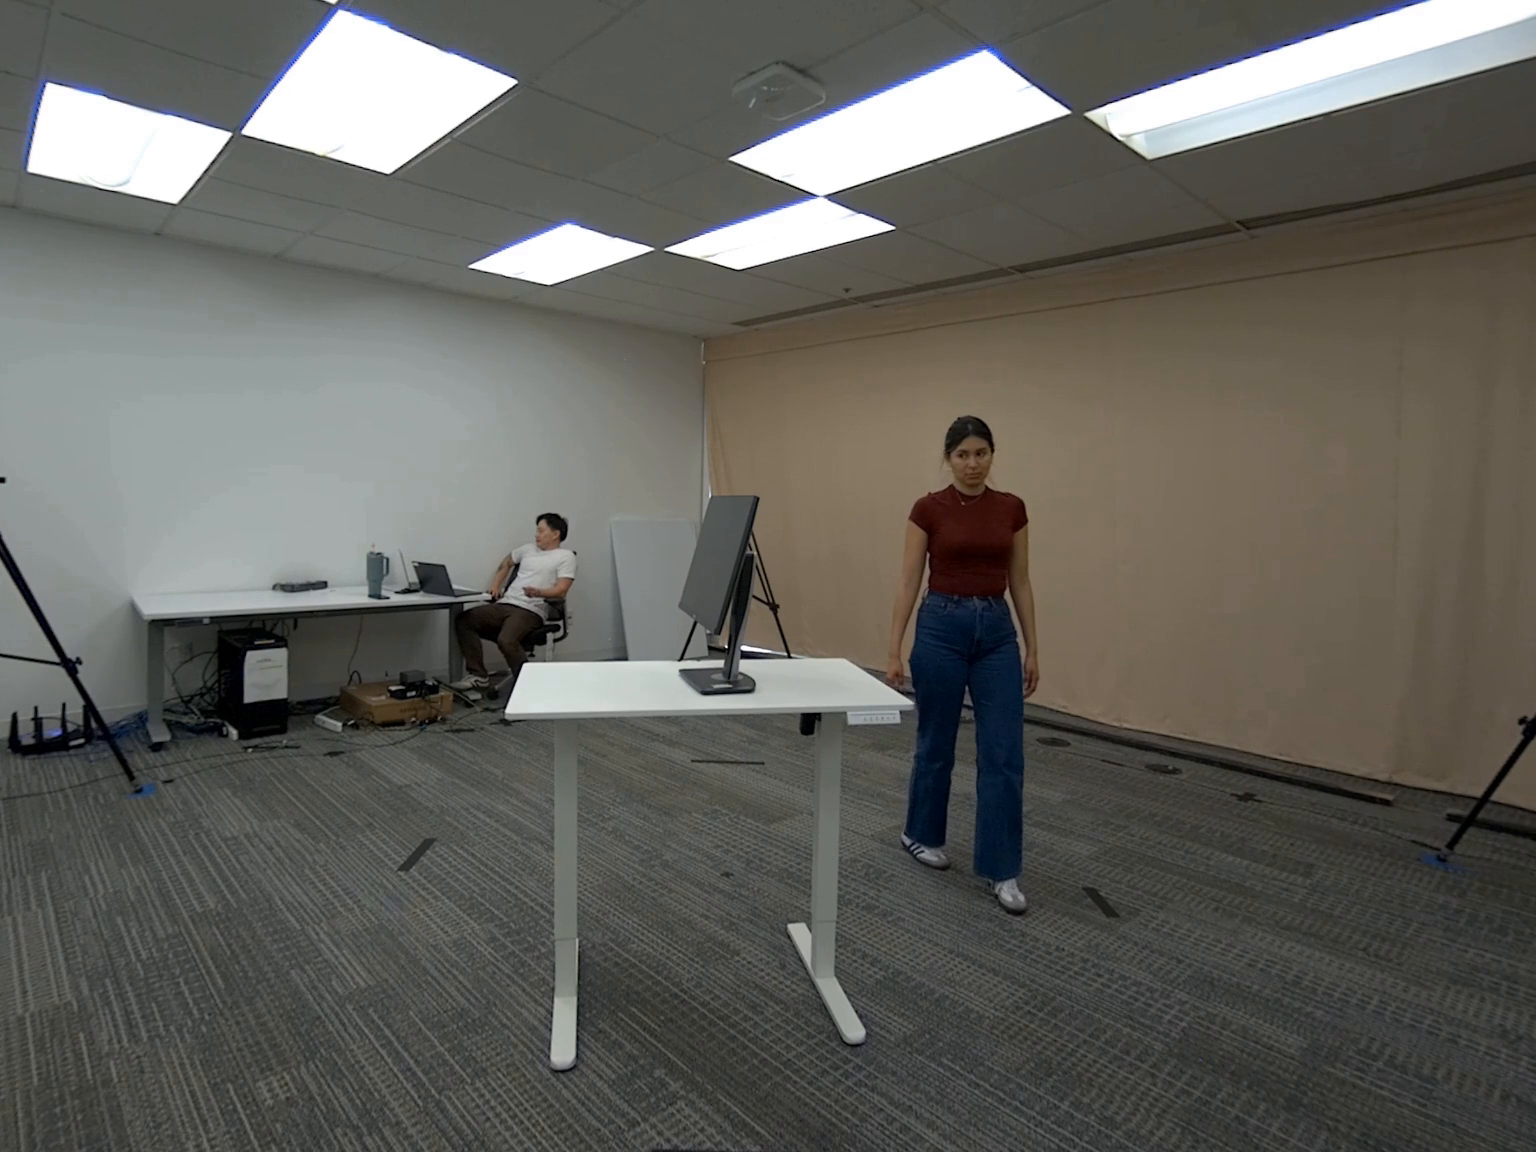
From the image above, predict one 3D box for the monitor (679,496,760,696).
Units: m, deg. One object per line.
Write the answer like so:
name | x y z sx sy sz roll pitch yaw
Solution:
monitor | -0.121 0.043 2.296 0.185 0.522 0.547 2 3 -17
